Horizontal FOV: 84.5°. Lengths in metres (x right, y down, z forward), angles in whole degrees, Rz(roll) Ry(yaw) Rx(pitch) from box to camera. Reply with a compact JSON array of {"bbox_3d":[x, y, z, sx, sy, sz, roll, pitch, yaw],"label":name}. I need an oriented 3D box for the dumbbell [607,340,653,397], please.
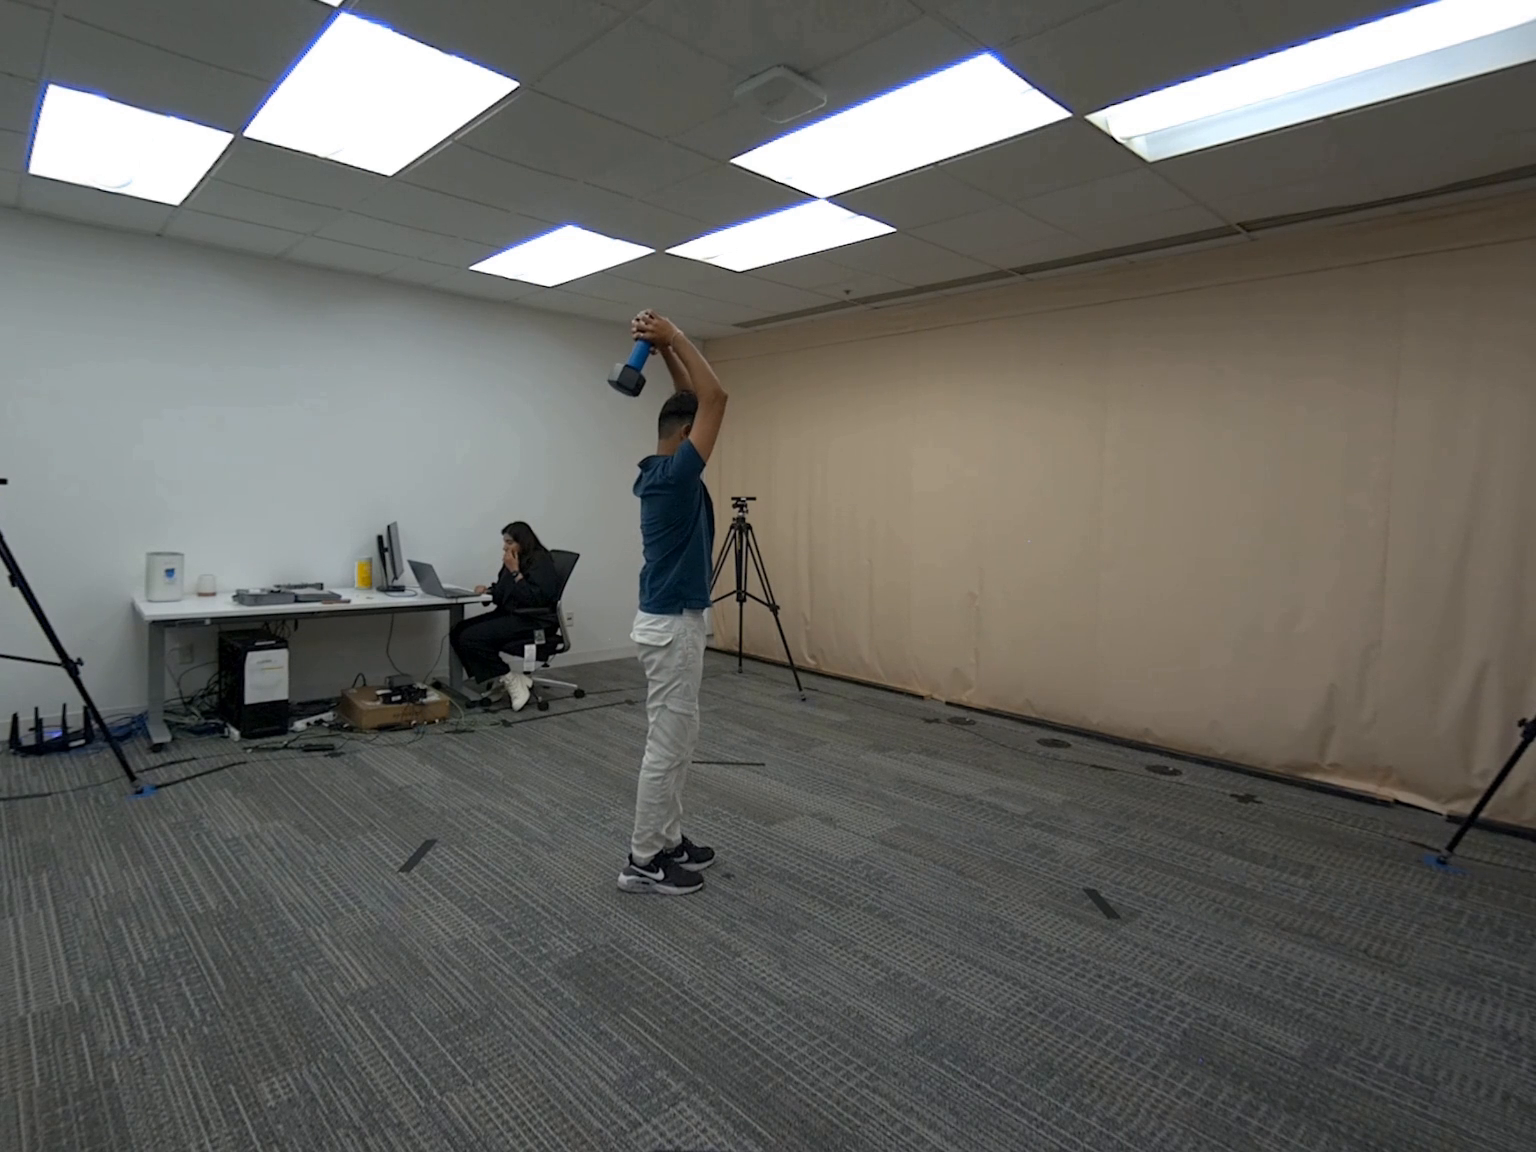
[{"bbox_3d":[-0.461,-0.767,2.913,0.121,0.294,0.110,23,-4,-18],"label":"dumbbell"}]
